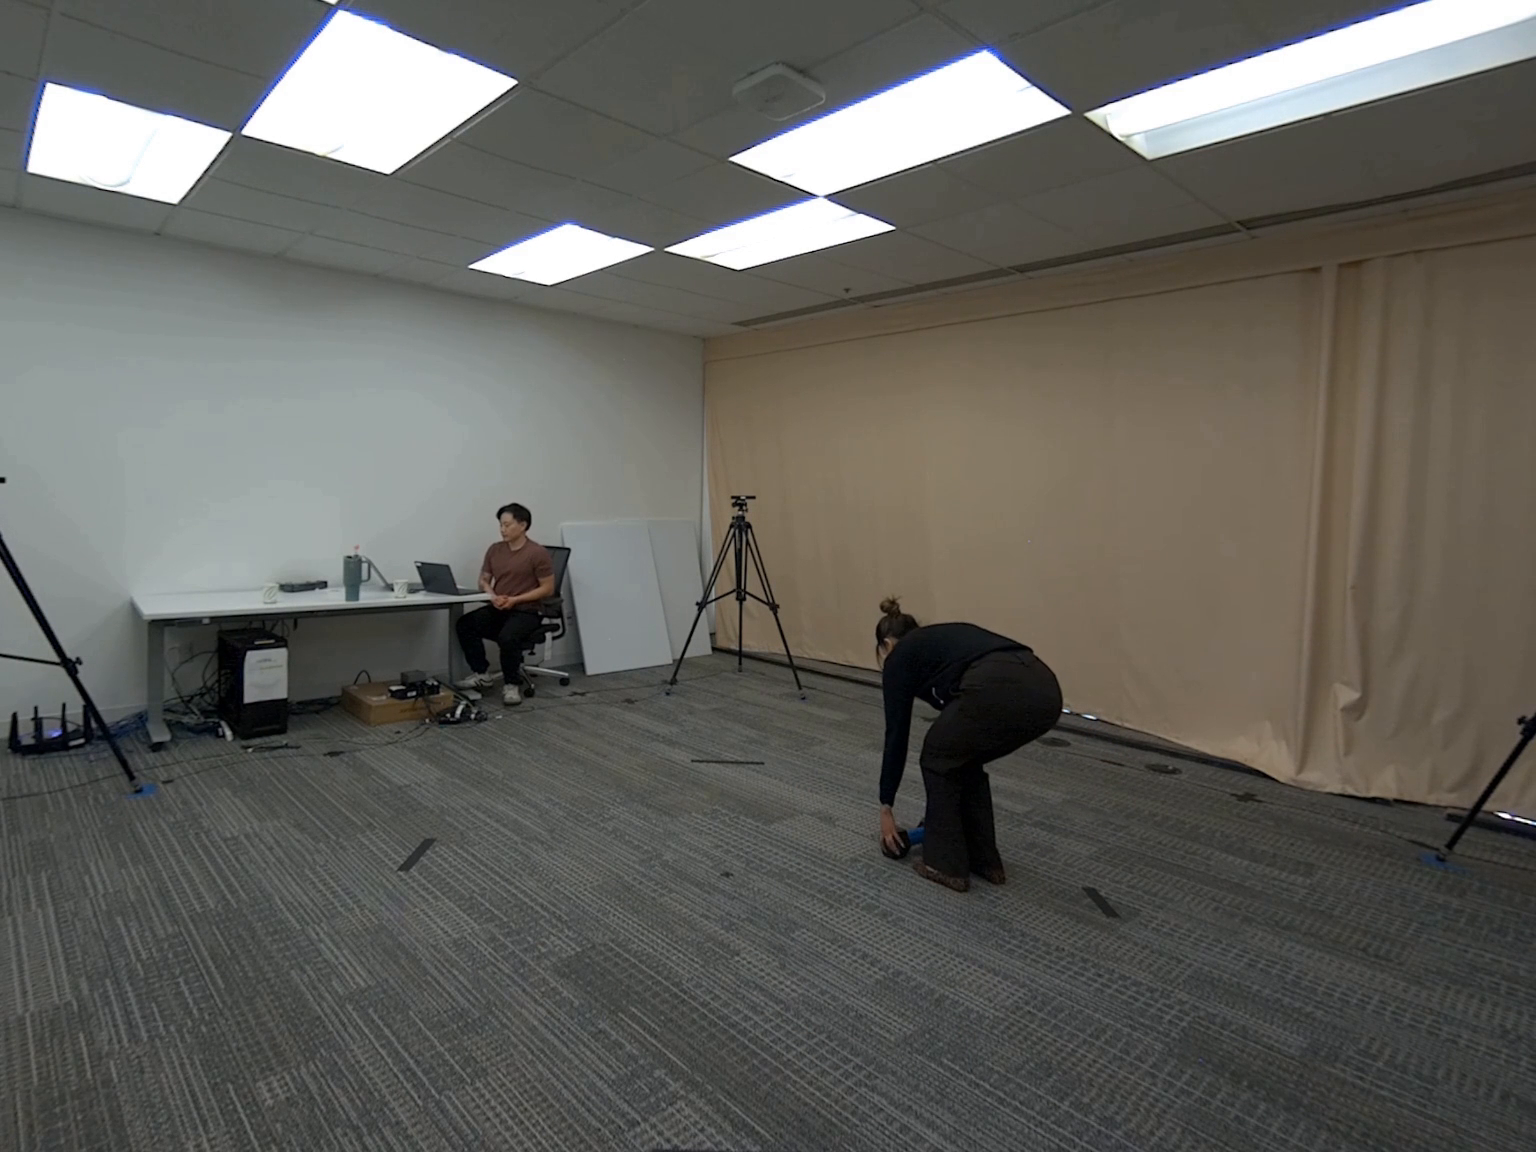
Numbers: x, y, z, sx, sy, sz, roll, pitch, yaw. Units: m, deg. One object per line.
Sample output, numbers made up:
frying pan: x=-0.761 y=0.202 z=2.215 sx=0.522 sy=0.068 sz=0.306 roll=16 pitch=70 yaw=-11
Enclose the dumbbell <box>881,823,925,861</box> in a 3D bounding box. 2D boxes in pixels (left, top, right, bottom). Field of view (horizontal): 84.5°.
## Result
dumbbell: x=0.577 y=1.040 z=3.360 sx=0.287 sy=0.121 sz=0.112 roll=-2 pitch=34 yaw=-34
